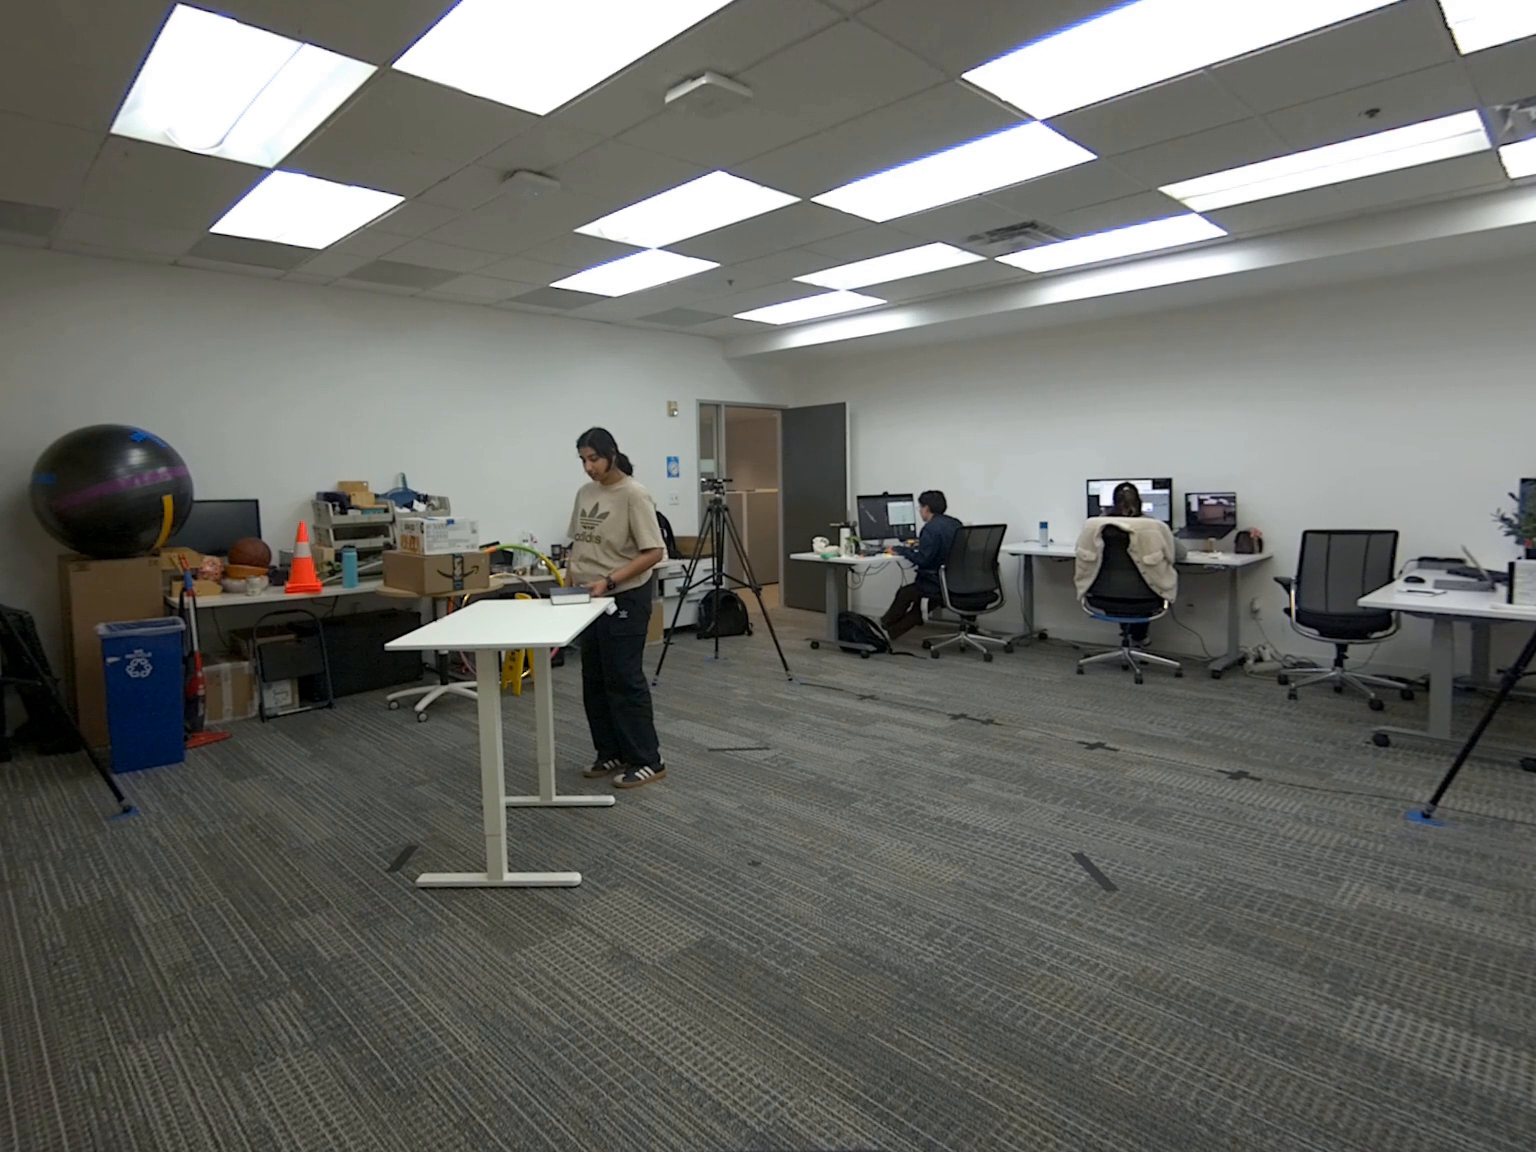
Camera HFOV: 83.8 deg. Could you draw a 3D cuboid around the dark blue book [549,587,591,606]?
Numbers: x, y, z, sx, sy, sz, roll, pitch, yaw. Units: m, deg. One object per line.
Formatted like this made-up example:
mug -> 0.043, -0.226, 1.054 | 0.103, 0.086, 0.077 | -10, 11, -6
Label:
dark blue book -> -0.876, 0.084, 3.744 | 0.162, 0.045, 0.248 | -1, 7, -9
